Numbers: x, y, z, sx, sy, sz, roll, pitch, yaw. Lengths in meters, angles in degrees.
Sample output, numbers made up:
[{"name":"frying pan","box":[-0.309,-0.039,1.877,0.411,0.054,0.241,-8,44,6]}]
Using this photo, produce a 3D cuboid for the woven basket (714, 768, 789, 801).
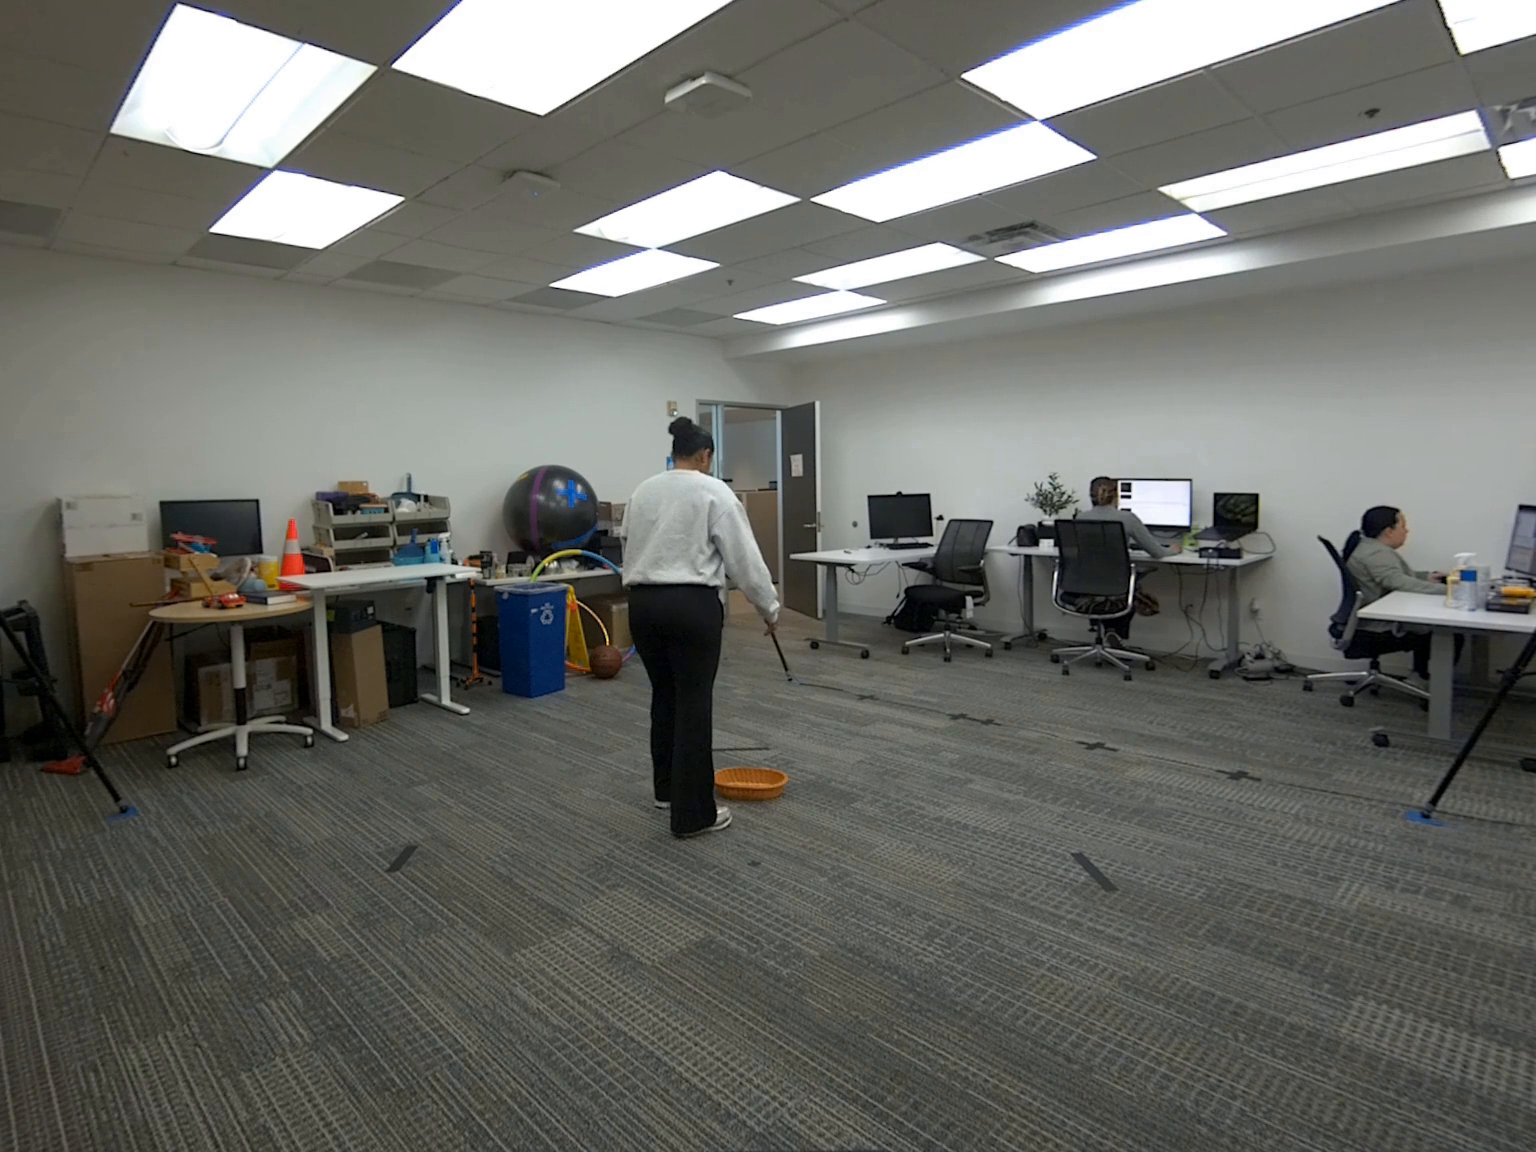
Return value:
[{"name":"woven basket","box":[-0.083,0.925,3.808,0.355,0.073,0.250,1,6,13]}]
